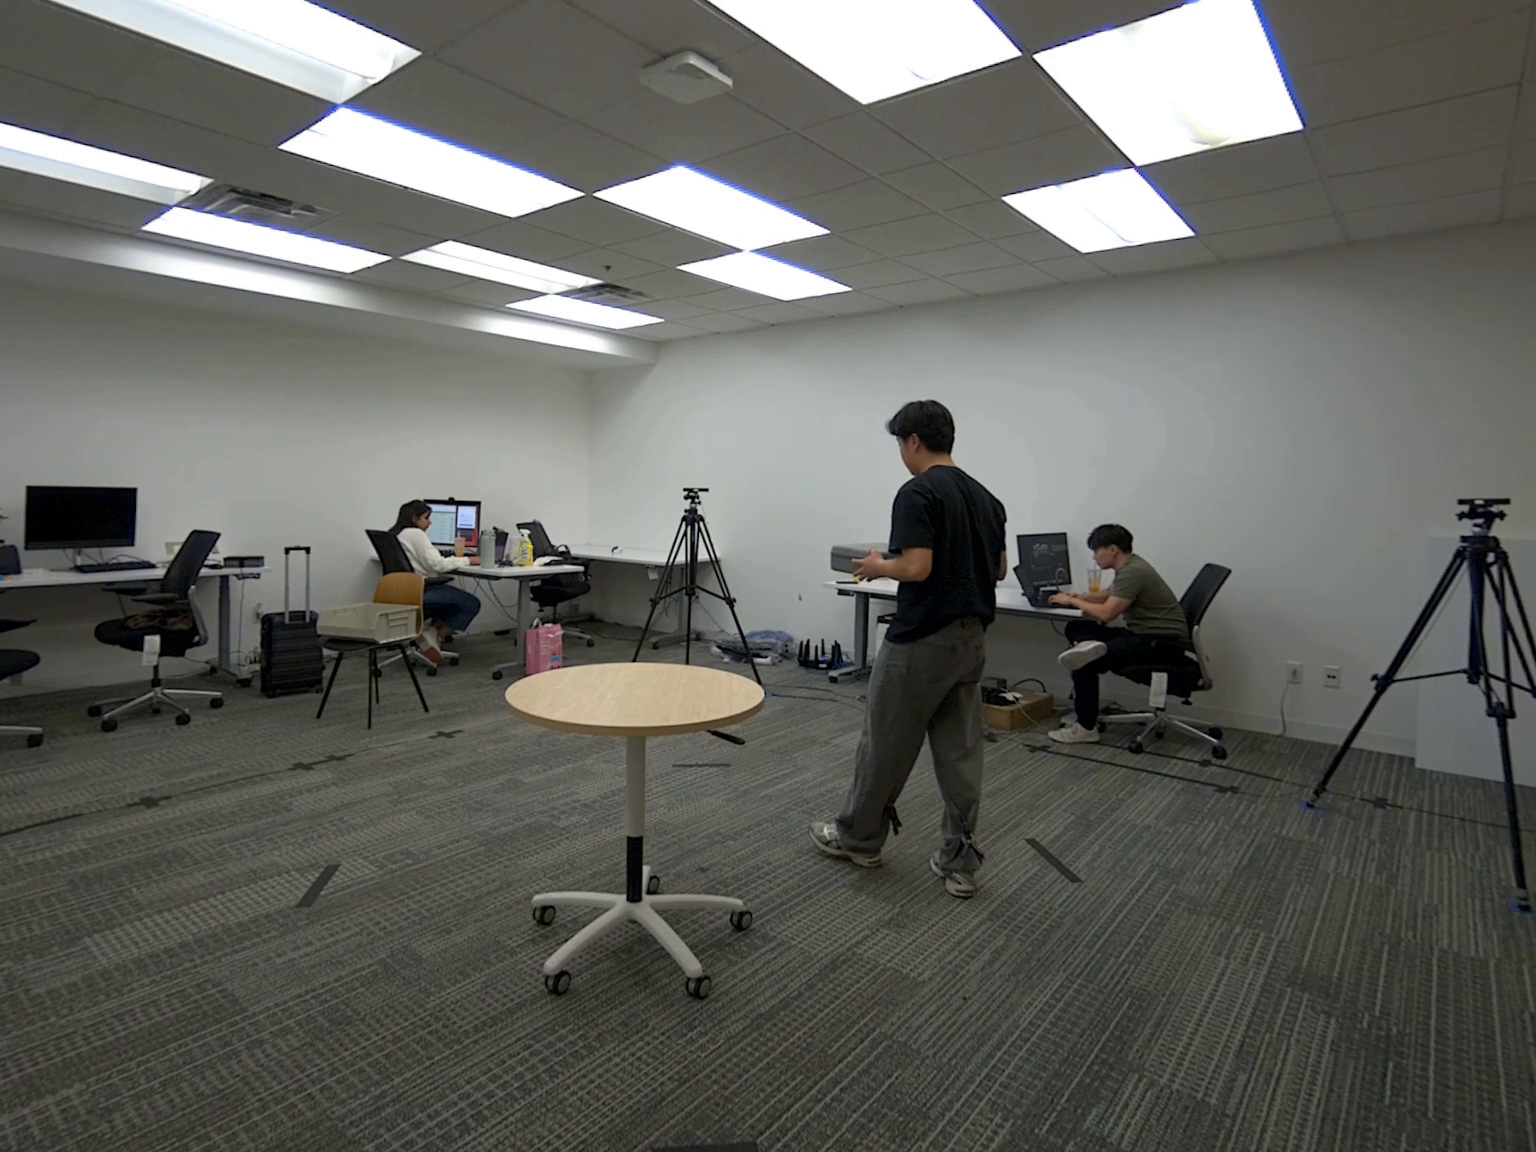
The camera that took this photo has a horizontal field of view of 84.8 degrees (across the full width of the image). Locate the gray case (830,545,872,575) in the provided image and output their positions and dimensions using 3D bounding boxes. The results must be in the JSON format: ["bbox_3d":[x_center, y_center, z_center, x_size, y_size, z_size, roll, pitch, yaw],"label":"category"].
[{"bbox_3d":[0.395,-0.069,3.274,0.256,0.102,0.297,-2,9,-32],"label":"gray case"}]
